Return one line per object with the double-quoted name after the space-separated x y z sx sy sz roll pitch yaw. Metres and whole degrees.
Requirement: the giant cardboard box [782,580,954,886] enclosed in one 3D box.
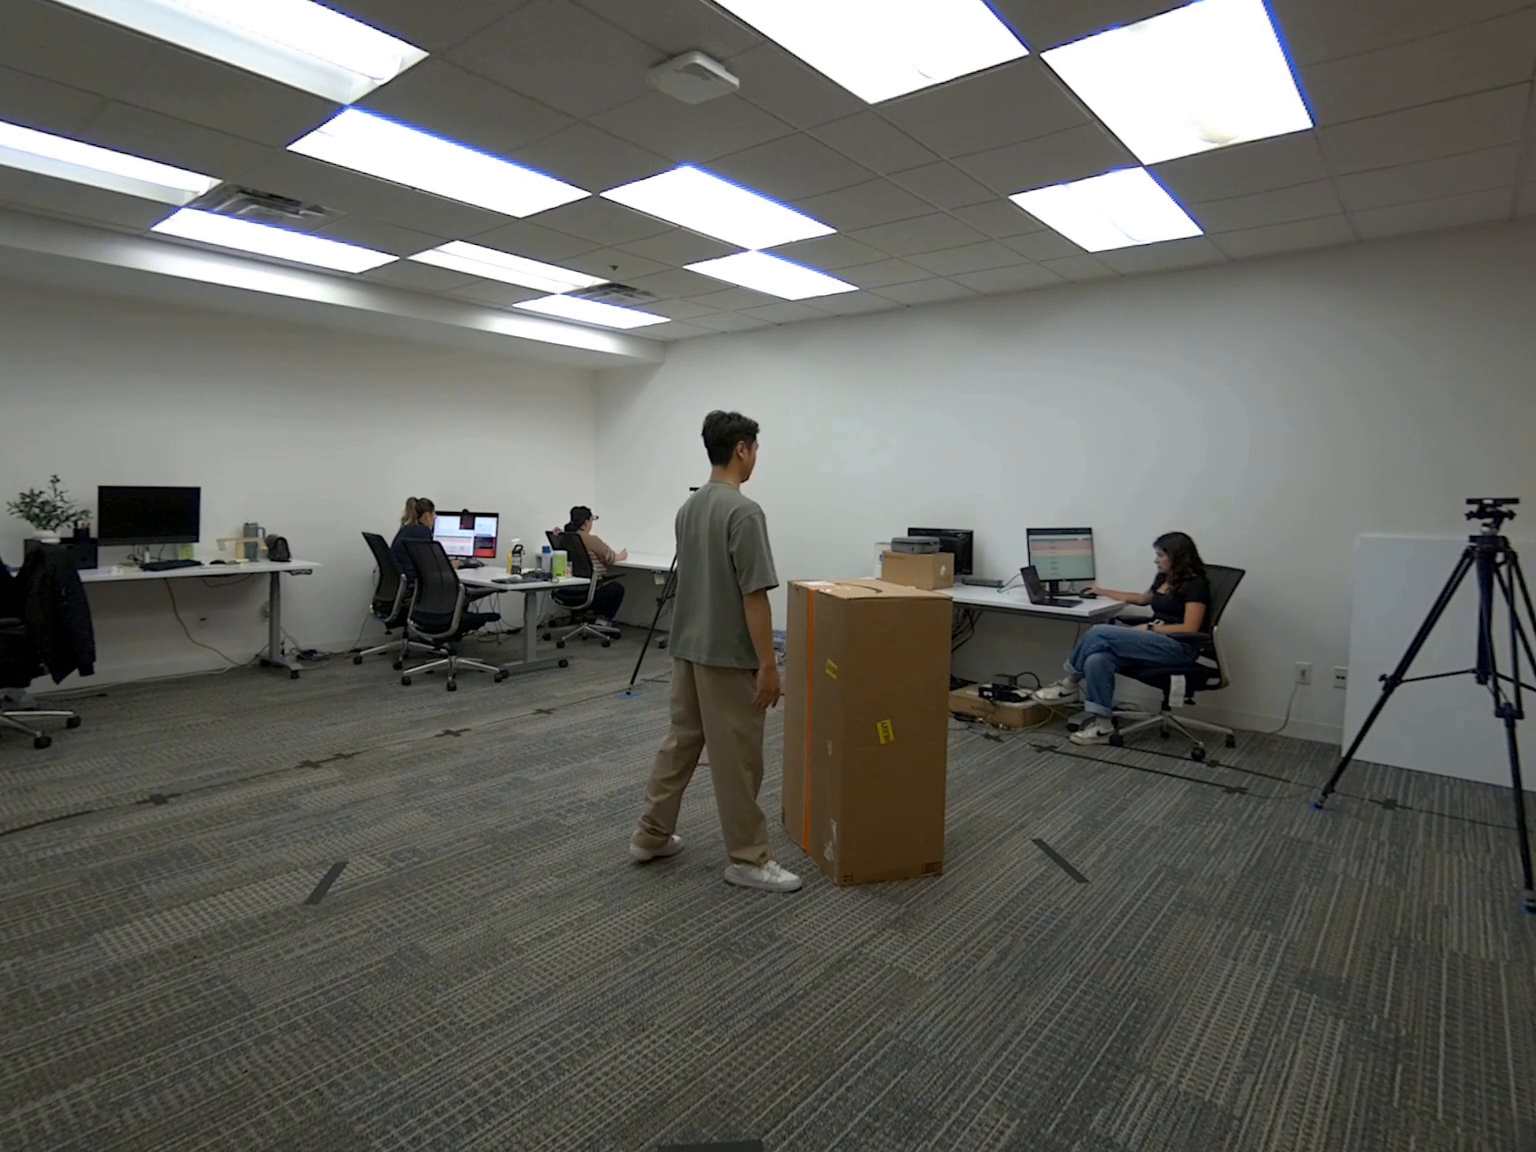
0.352 0.555 3.284 0.419 1.023 0.589 0 3 -17 "giant cardboard box"
